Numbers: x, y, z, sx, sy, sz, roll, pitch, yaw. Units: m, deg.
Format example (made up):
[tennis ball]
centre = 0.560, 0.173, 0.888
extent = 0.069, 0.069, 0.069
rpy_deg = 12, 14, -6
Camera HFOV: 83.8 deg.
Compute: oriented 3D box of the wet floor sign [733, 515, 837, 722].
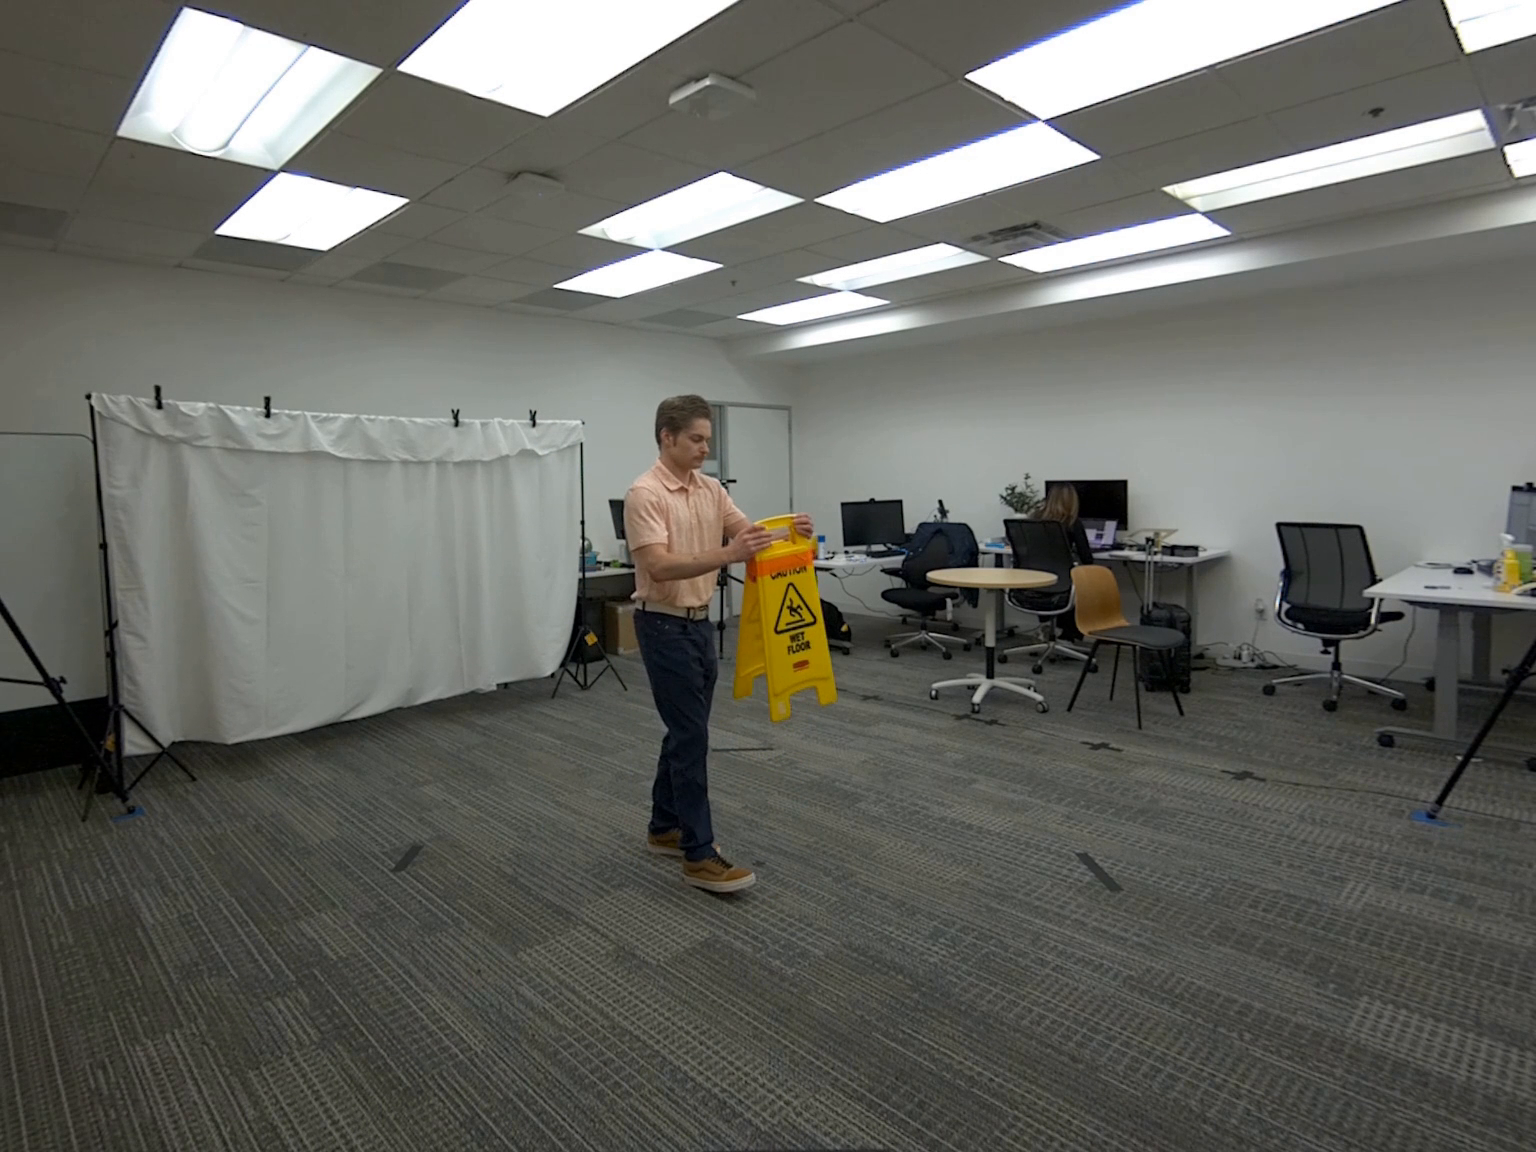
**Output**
[wet floor sign]
centre = 0.037, 0.121, 2.908
extent = 0.276, 0.638, 0.299
rpy_deg = -10, 15, -33
